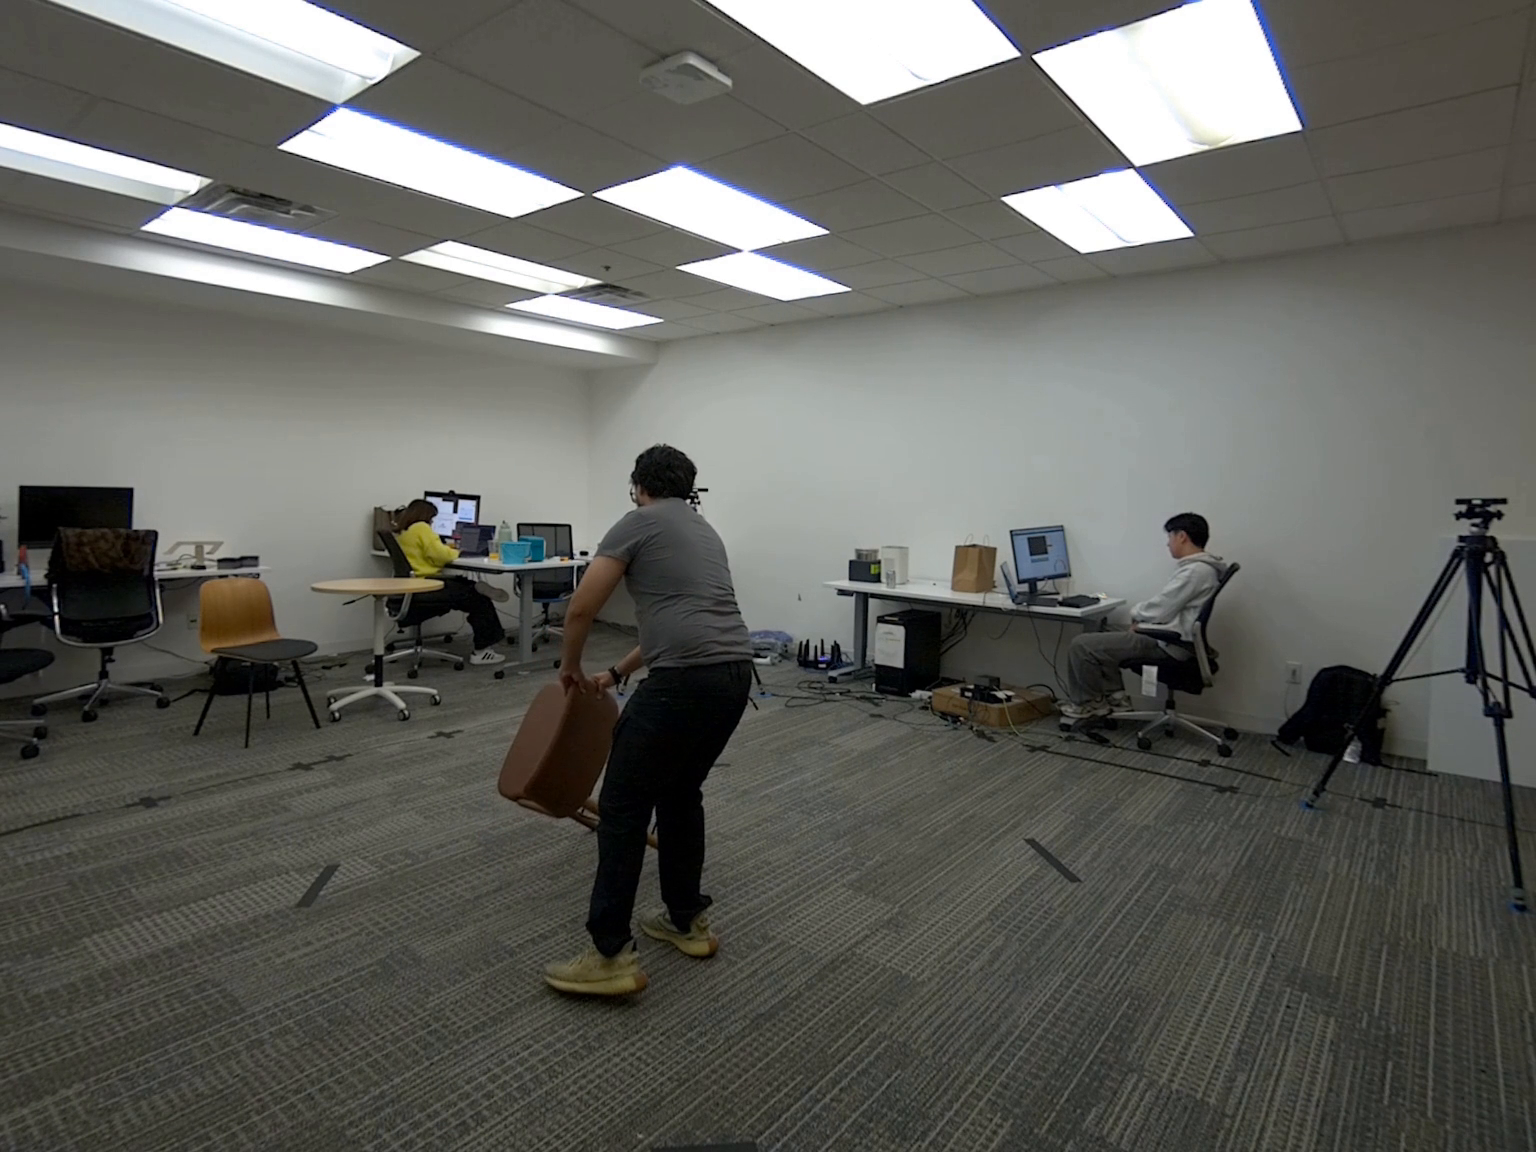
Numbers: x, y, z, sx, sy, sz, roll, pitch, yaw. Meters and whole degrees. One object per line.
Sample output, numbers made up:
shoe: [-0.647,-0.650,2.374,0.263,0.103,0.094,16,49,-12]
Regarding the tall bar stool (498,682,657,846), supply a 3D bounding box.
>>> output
tall bar stool: [-0.672,0.671,3.088,0.484,0.460,0.852,9,-24,35]
